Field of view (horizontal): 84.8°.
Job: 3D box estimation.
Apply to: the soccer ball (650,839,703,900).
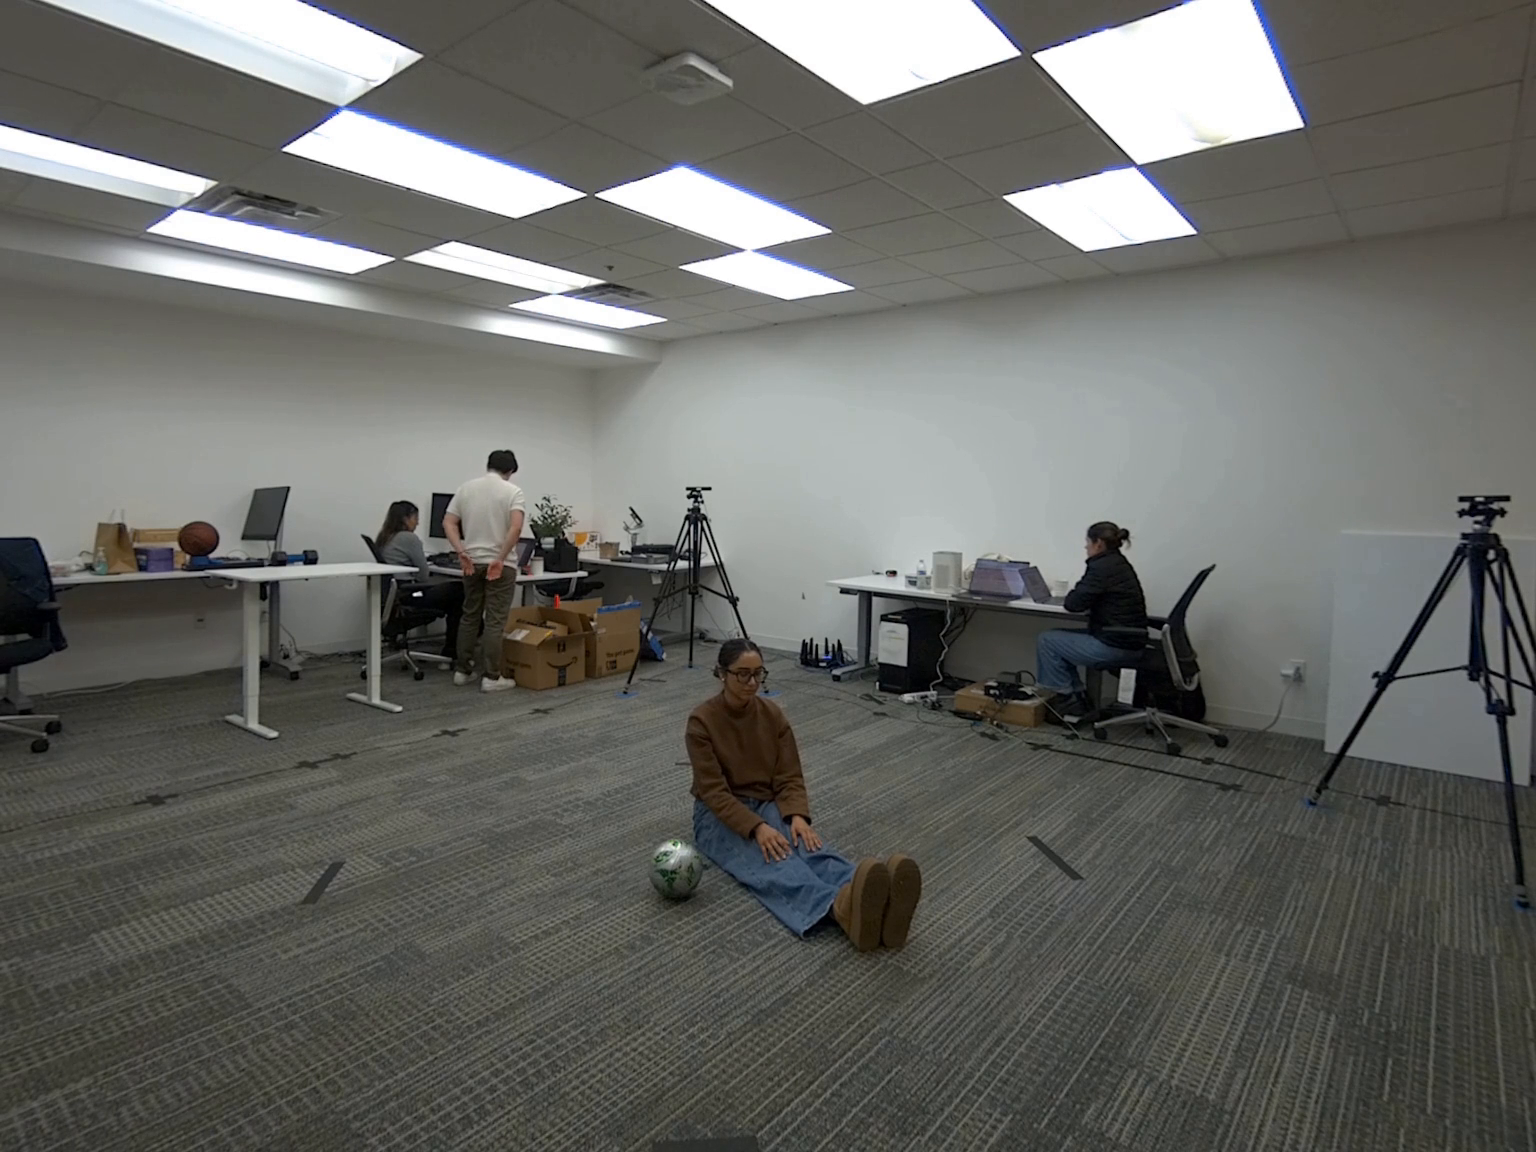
[{"bbox_3d":[-0.323,0.994,2.890,0.187,0.187,0.188,1,4,-2],"label":"soccer ball"}]
